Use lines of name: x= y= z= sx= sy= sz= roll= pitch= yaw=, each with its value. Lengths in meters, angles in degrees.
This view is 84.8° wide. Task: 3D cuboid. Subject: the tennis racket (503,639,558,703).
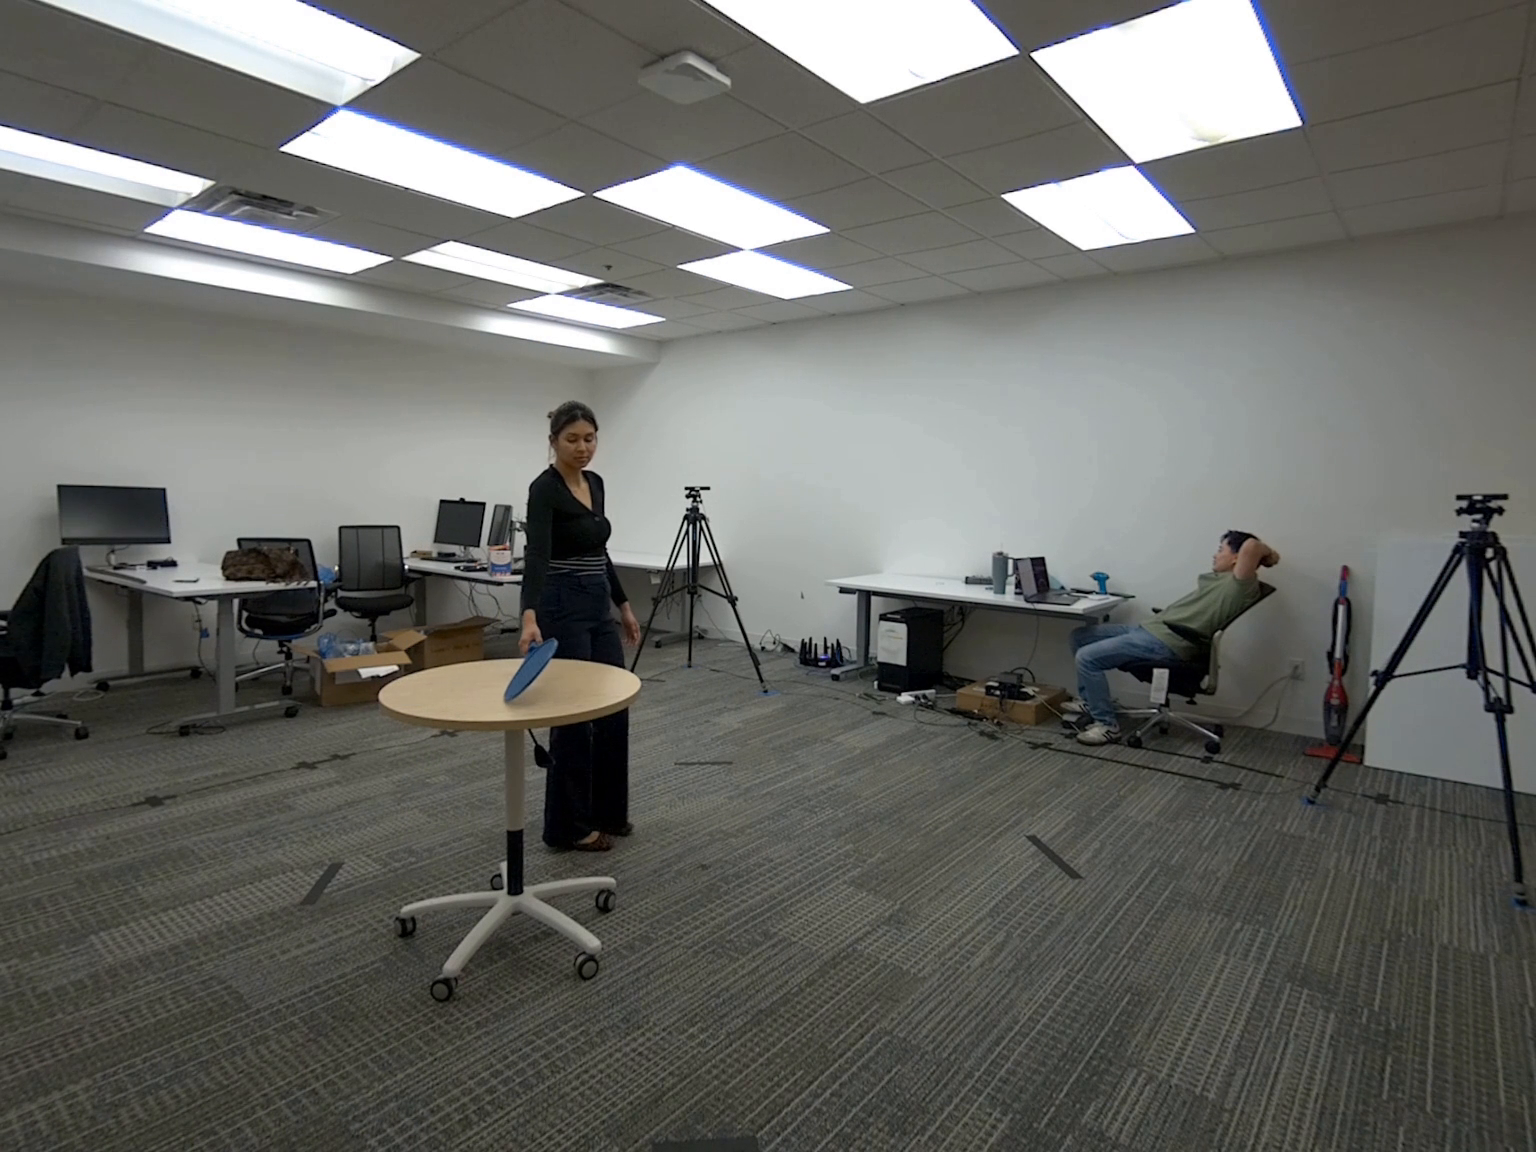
tennis racket: x=-0.719 y=0.252 z=2.513 sx=0.031 sy=0.213 sz=0.443 roll=46 pitch=-8 yaw=-18
